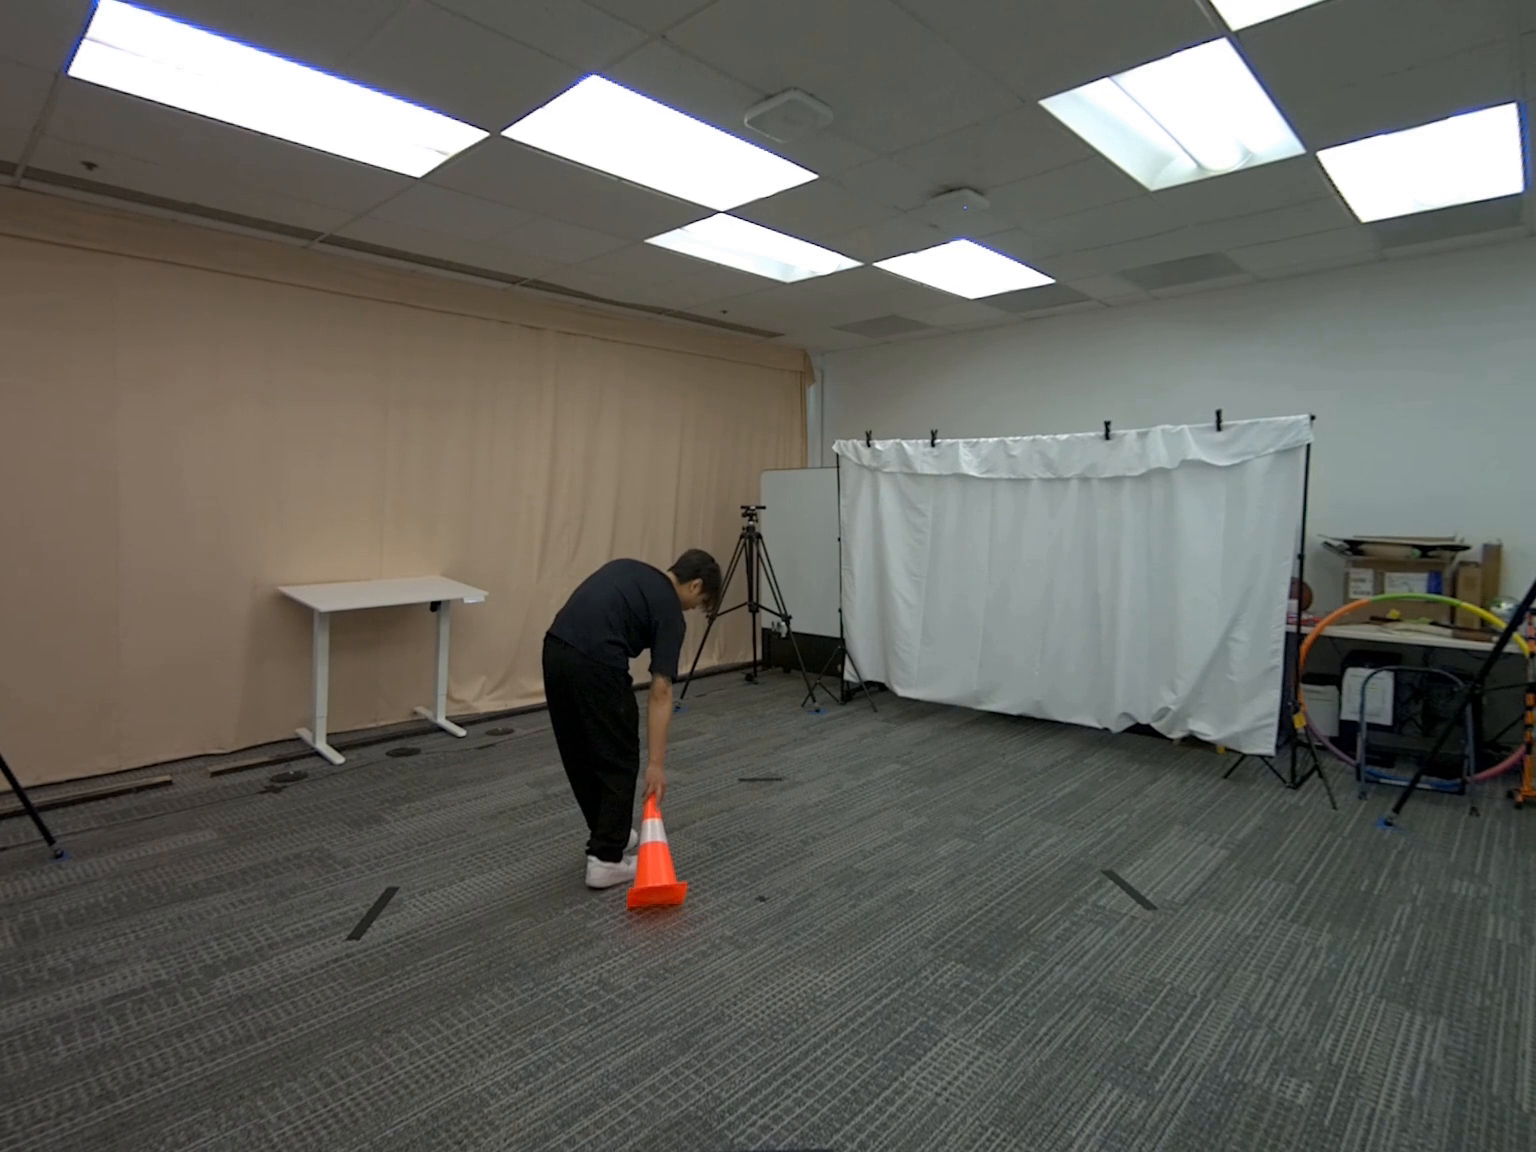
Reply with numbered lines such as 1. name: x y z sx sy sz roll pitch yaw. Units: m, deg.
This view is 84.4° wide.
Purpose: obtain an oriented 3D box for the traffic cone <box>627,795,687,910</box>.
1. traffic cone: -0.408 0.943 2.979 0.201 0.392 0.202 -2 -38 -11
